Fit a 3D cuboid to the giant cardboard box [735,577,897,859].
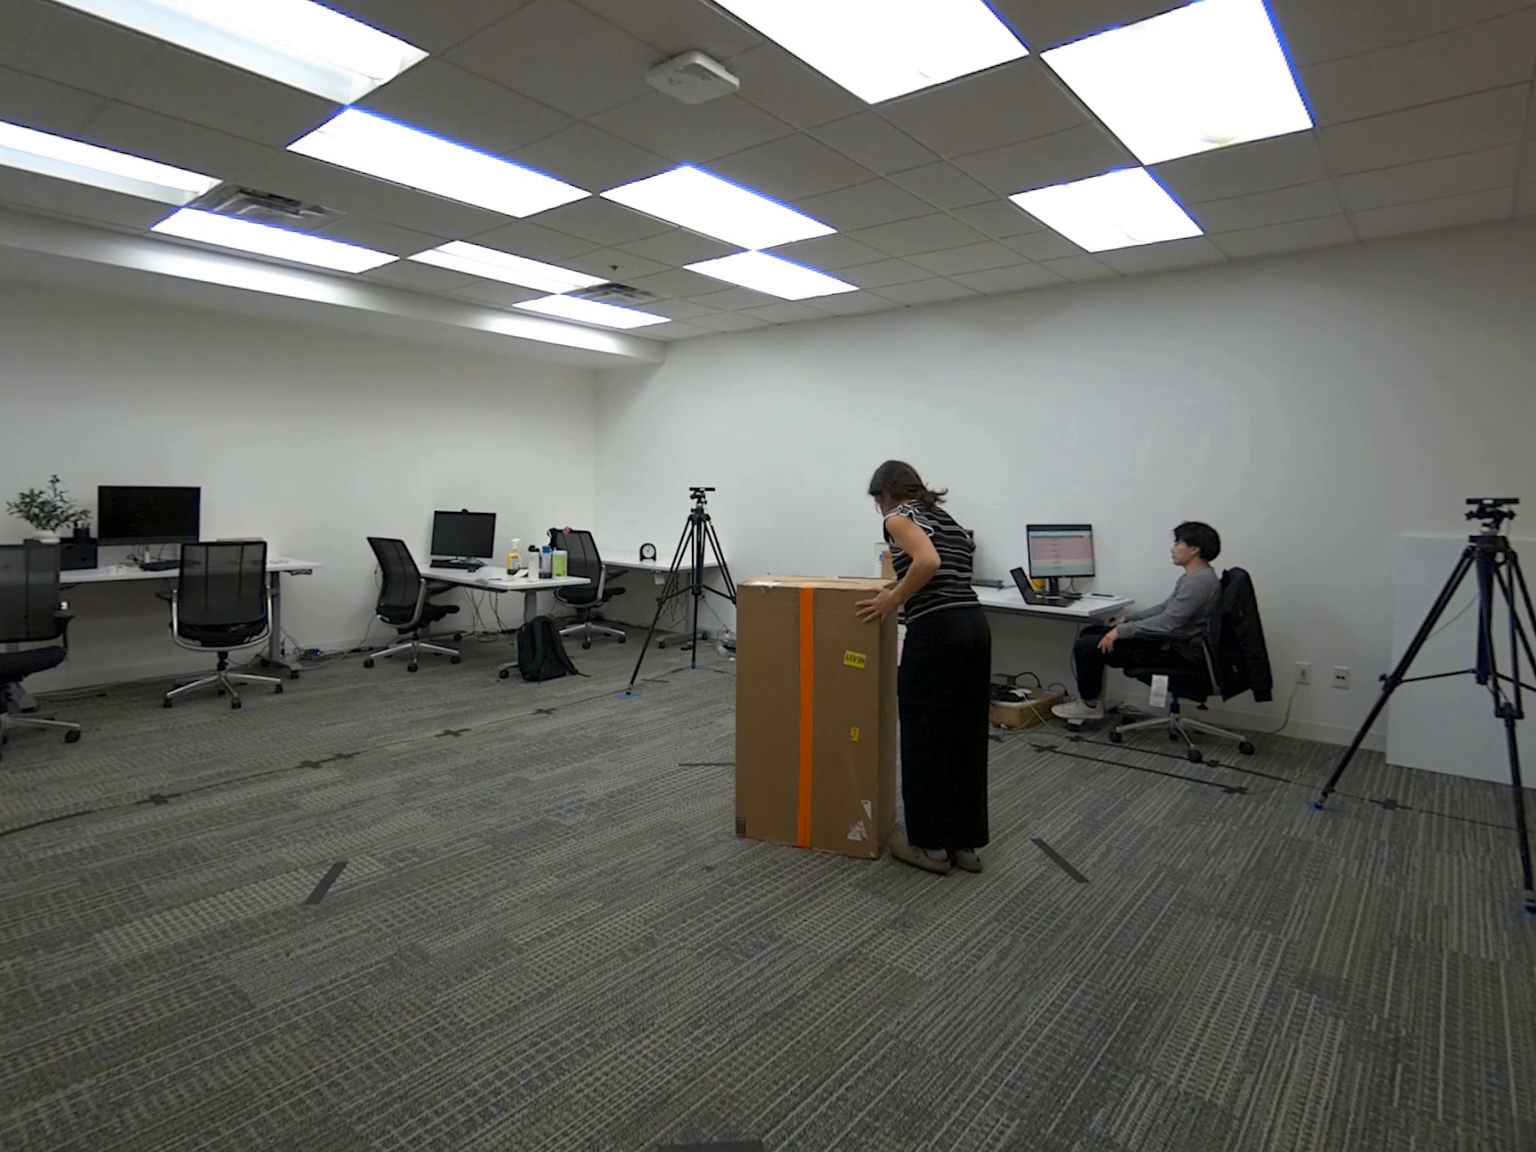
[{"bbox_3d":[0.195,0.531,3.482,0.591,1.023,0.418,2,3,22],"label":"giant cardboard box"}]
